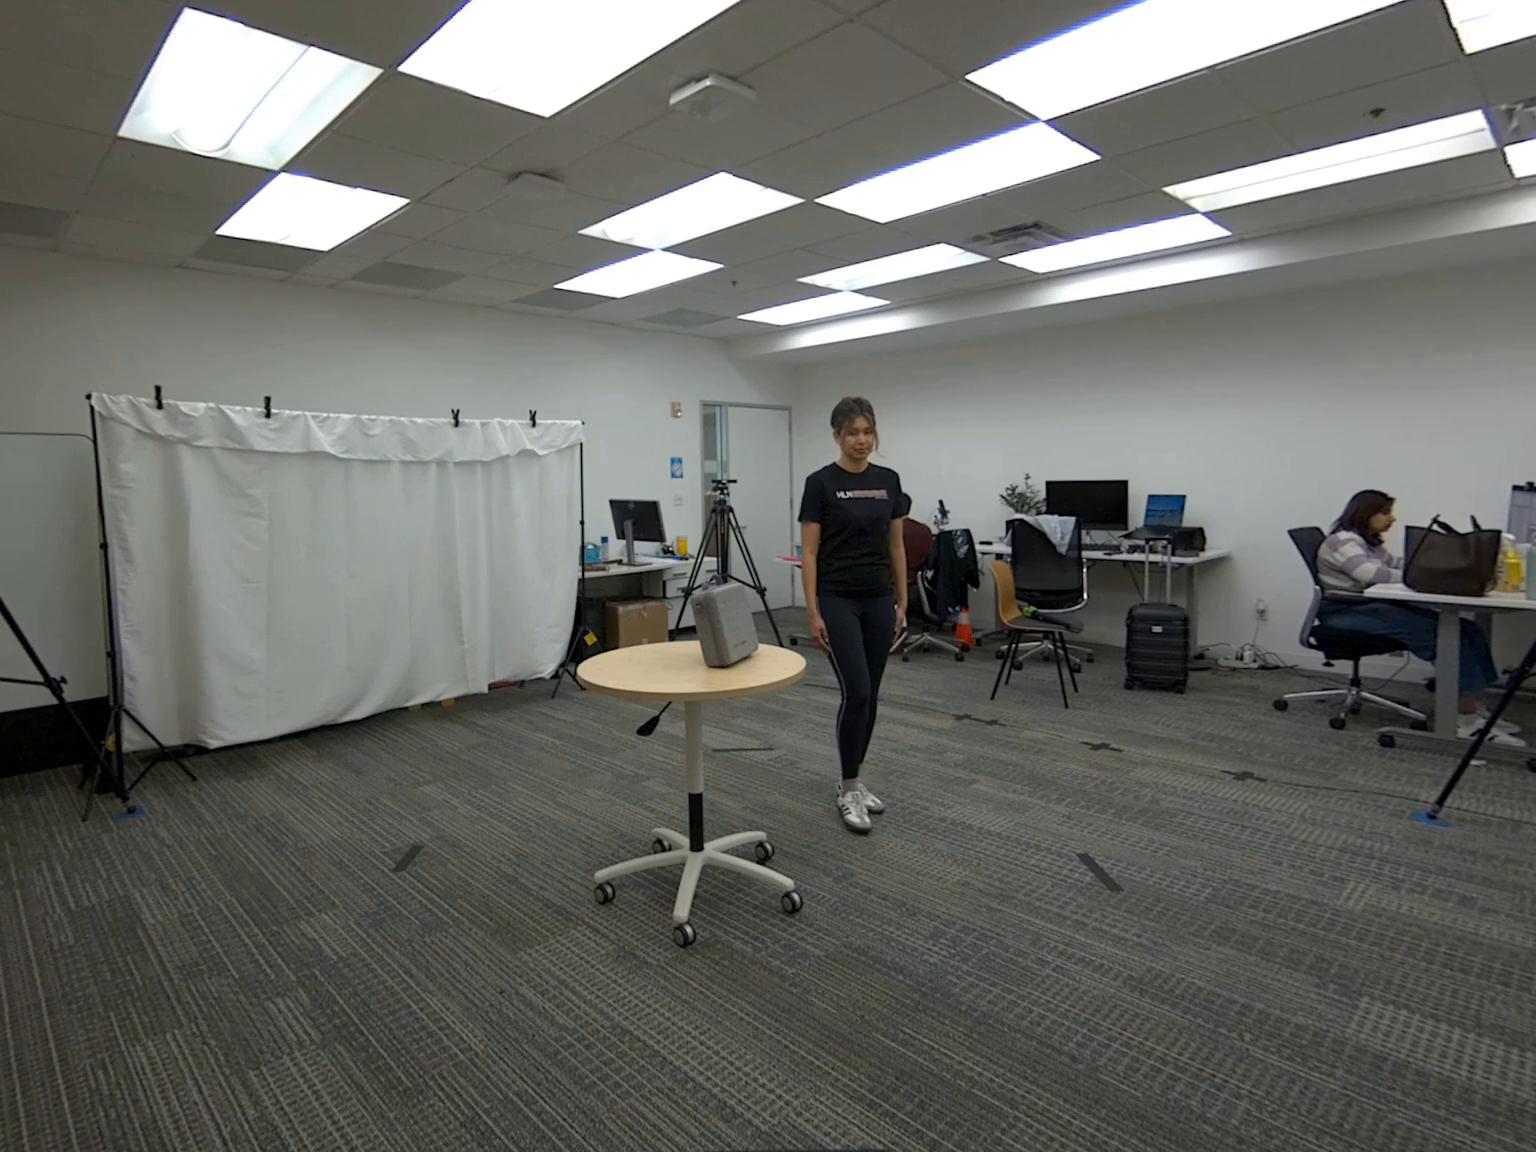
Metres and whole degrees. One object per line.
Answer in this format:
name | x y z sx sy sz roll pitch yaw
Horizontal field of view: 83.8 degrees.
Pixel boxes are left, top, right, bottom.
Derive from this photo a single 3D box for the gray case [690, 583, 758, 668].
gray case | -0.140 0.157 2.890 0.106 0.261 0.252 -12 -1 24
